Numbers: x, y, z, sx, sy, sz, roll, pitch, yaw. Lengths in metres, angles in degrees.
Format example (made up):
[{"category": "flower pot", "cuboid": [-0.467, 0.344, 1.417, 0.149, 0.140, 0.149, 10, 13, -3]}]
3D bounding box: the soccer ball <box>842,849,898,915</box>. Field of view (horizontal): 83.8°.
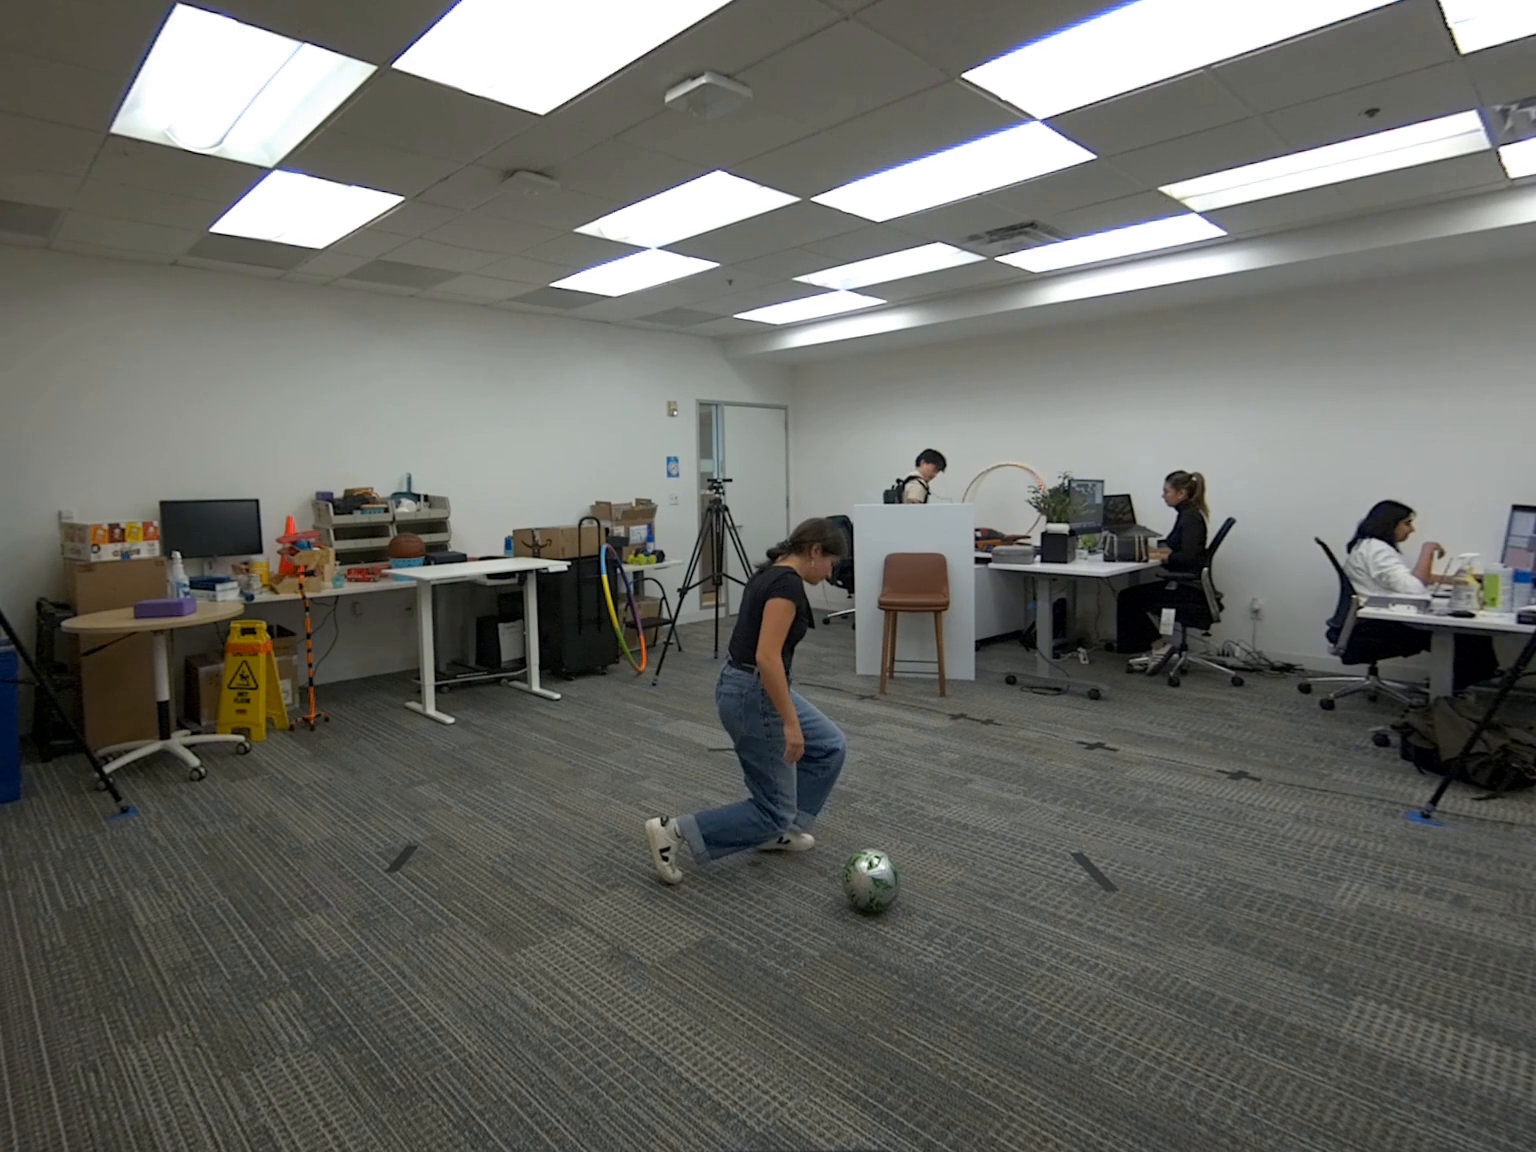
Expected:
[{"category": "soccer ball", "cuboid": [0.336, 0.985, 2.768, 0.187, 0.187, 0.188, -1, 5, -2]}]
